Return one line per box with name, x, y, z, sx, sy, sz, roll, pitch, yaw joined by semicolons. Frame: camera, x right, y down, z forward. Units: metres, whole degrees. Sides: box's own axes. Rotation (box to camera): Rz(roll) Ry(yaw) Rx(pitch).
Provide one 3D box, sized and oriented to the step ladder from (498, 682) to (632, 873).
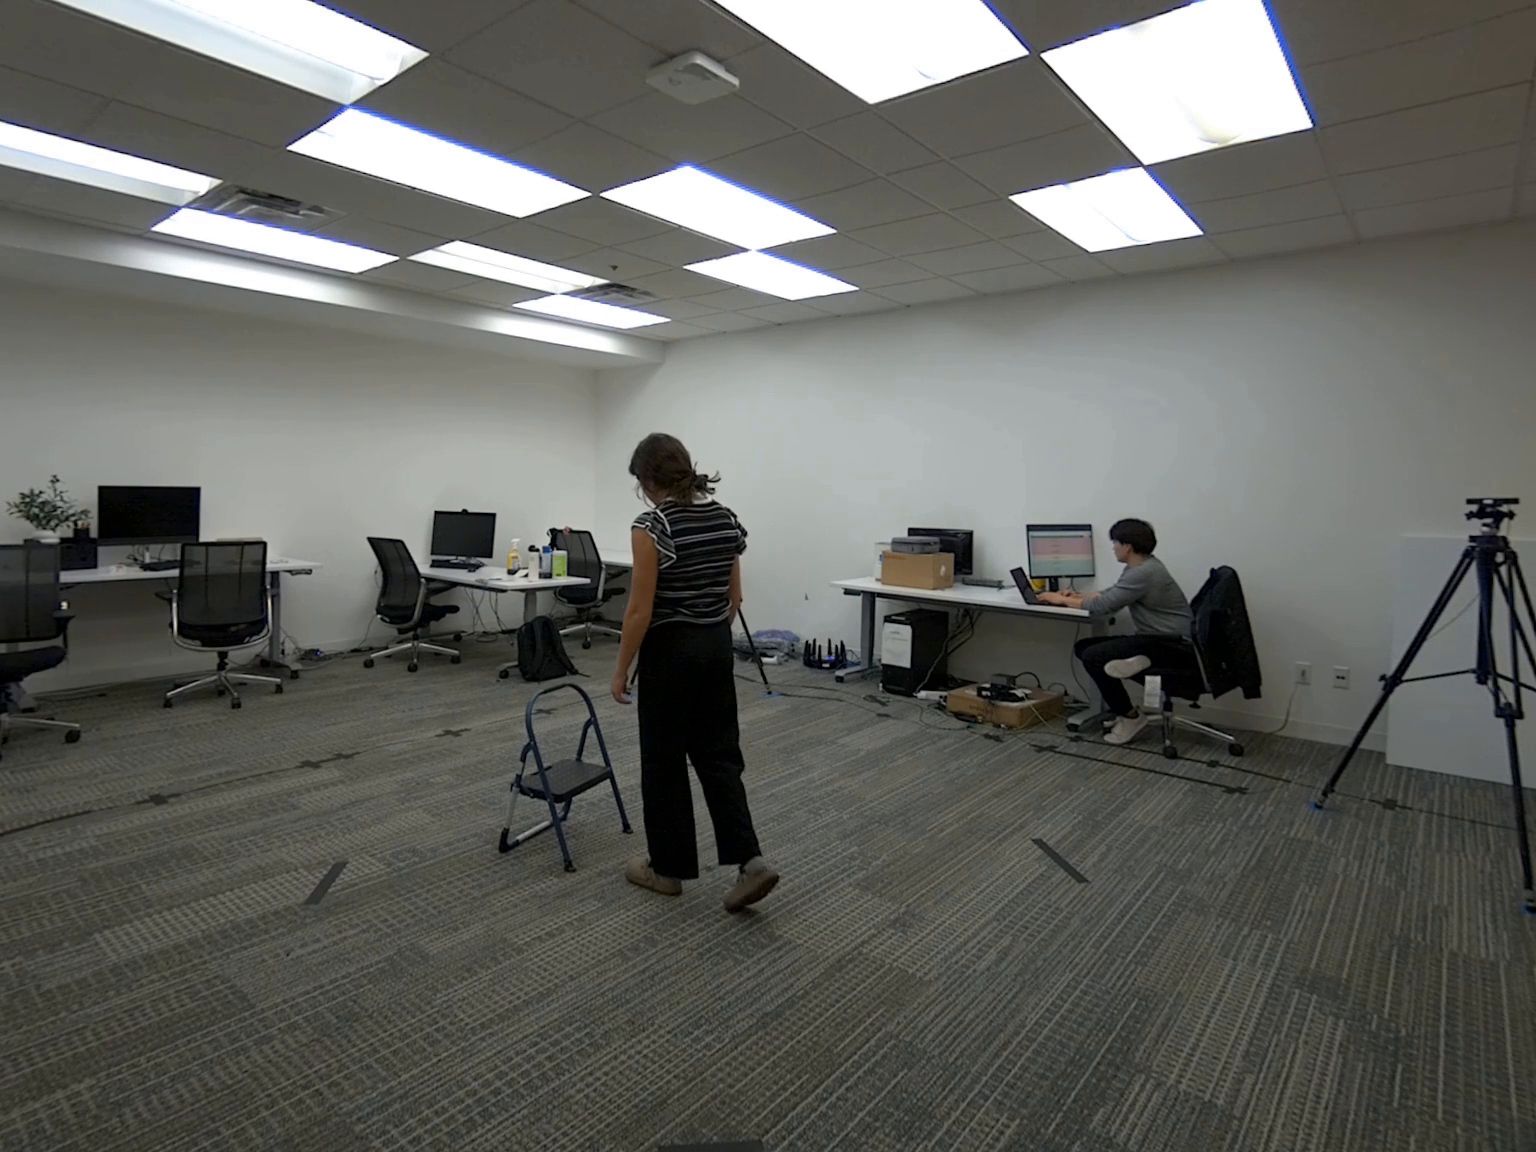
step ladder;-0.789;0.735;3.309;0.358;0.604;0.421;3;3;24
